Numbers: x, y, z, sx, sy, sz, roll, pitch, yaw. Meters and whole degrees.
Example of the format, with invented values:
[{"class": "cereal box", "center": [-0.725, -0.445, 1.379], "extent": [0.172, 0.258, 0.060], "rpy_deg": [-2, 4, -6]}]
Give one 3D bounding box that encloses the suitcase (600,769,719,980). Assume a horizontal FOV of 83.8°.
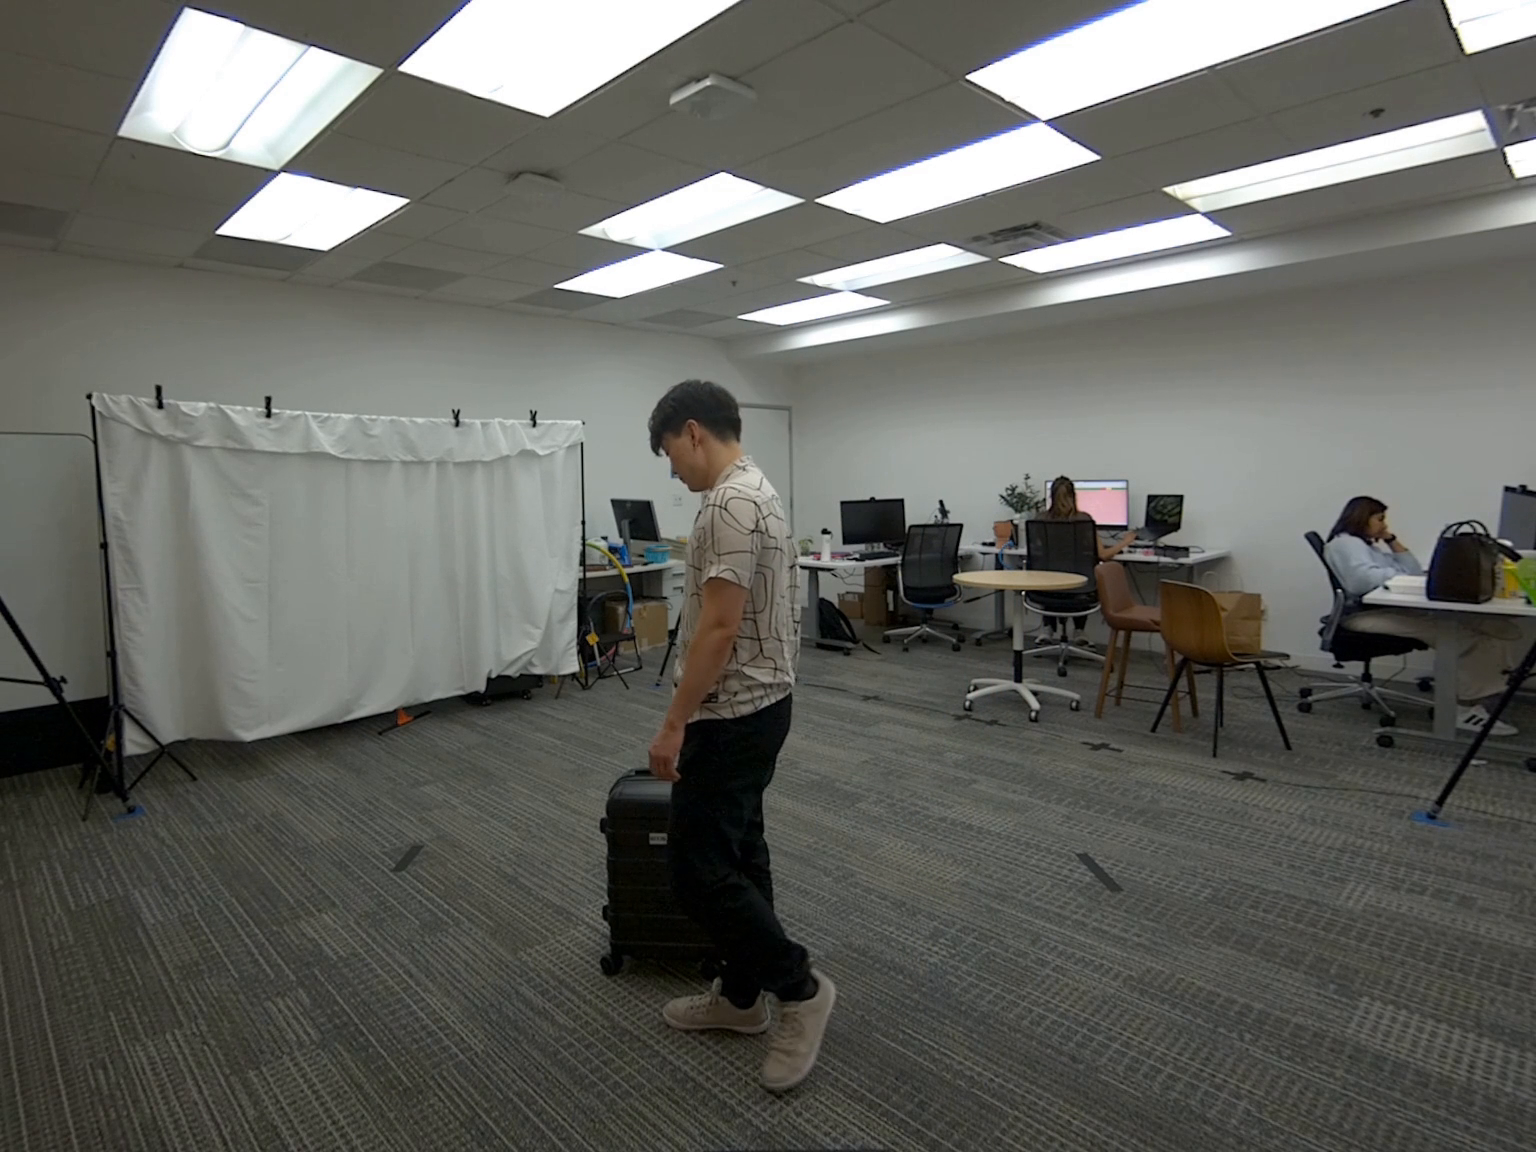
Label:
[{"class": "suitcase", "center": [-0.281, 0.847, 2.501], "extent": [0.377, 0.547, 0.248], "rpy_deg": [0, 4, 5]}]
